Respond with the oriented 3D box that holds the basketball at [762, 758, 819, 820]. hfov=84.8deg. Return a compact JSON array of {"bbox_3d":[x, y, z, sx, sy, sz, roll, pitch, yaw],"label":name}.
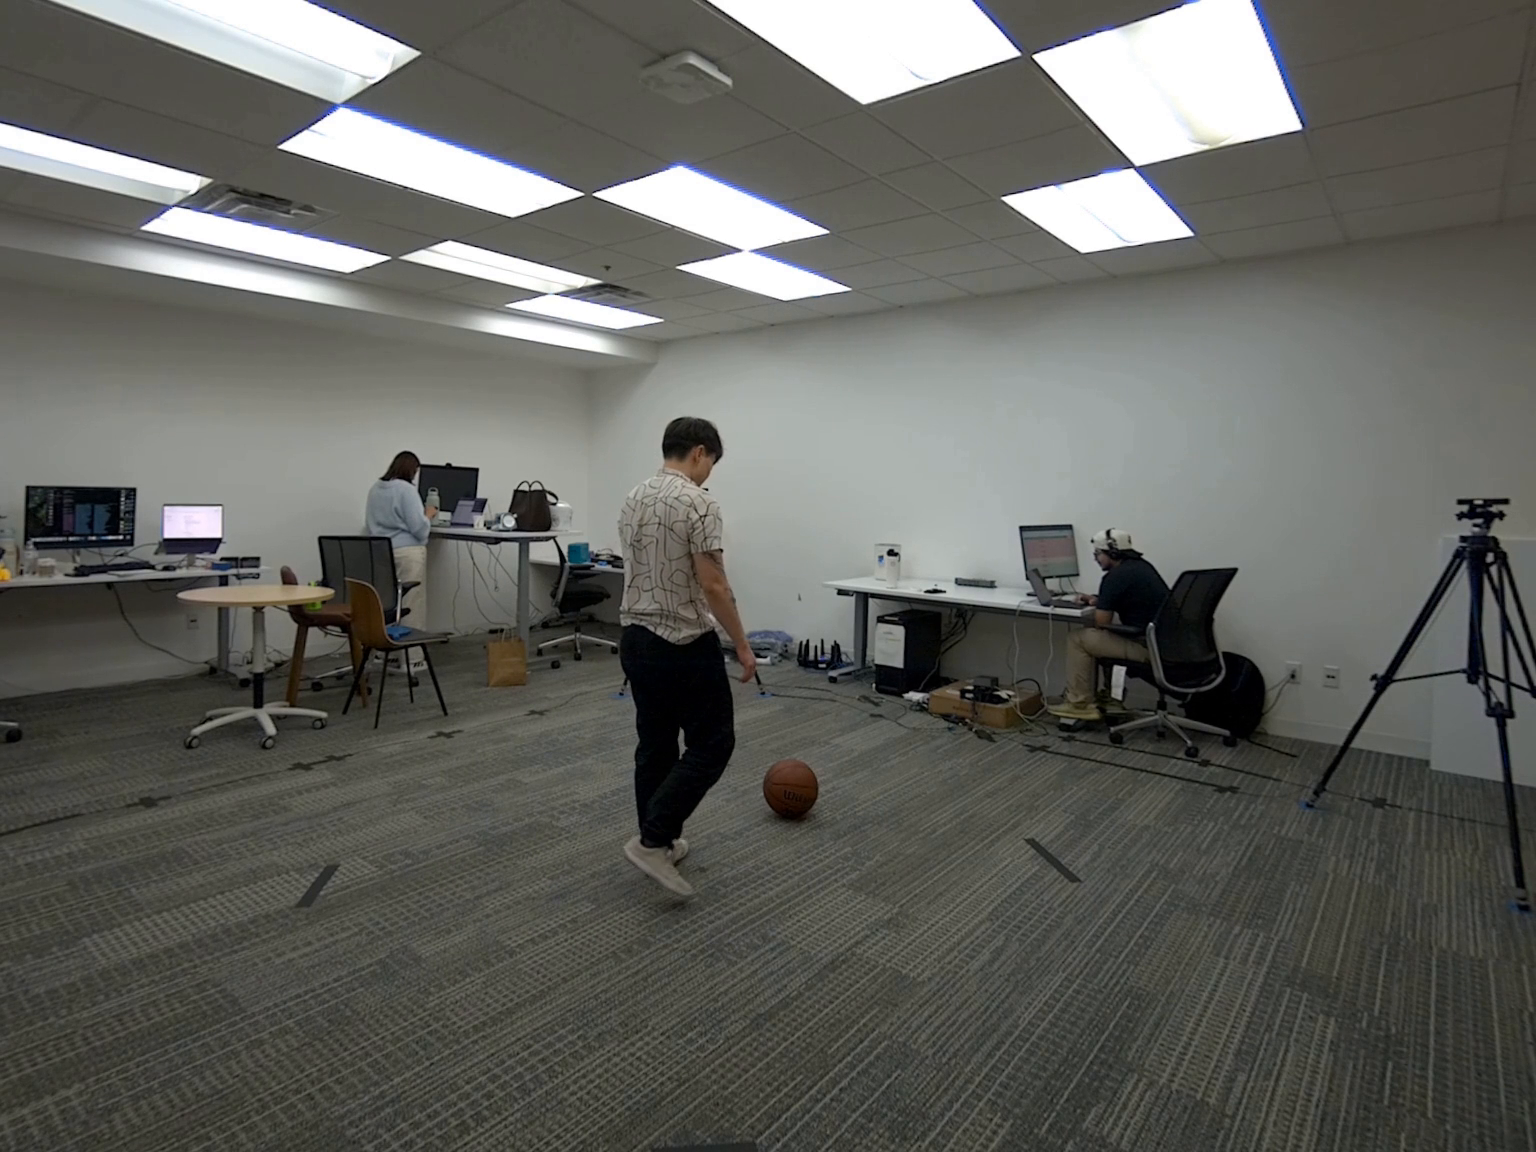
[{"bbox_3d":[0.085,0.902,3.644,0.235,0.235,0.237,1,4,-2],"label":"basketball"}]
